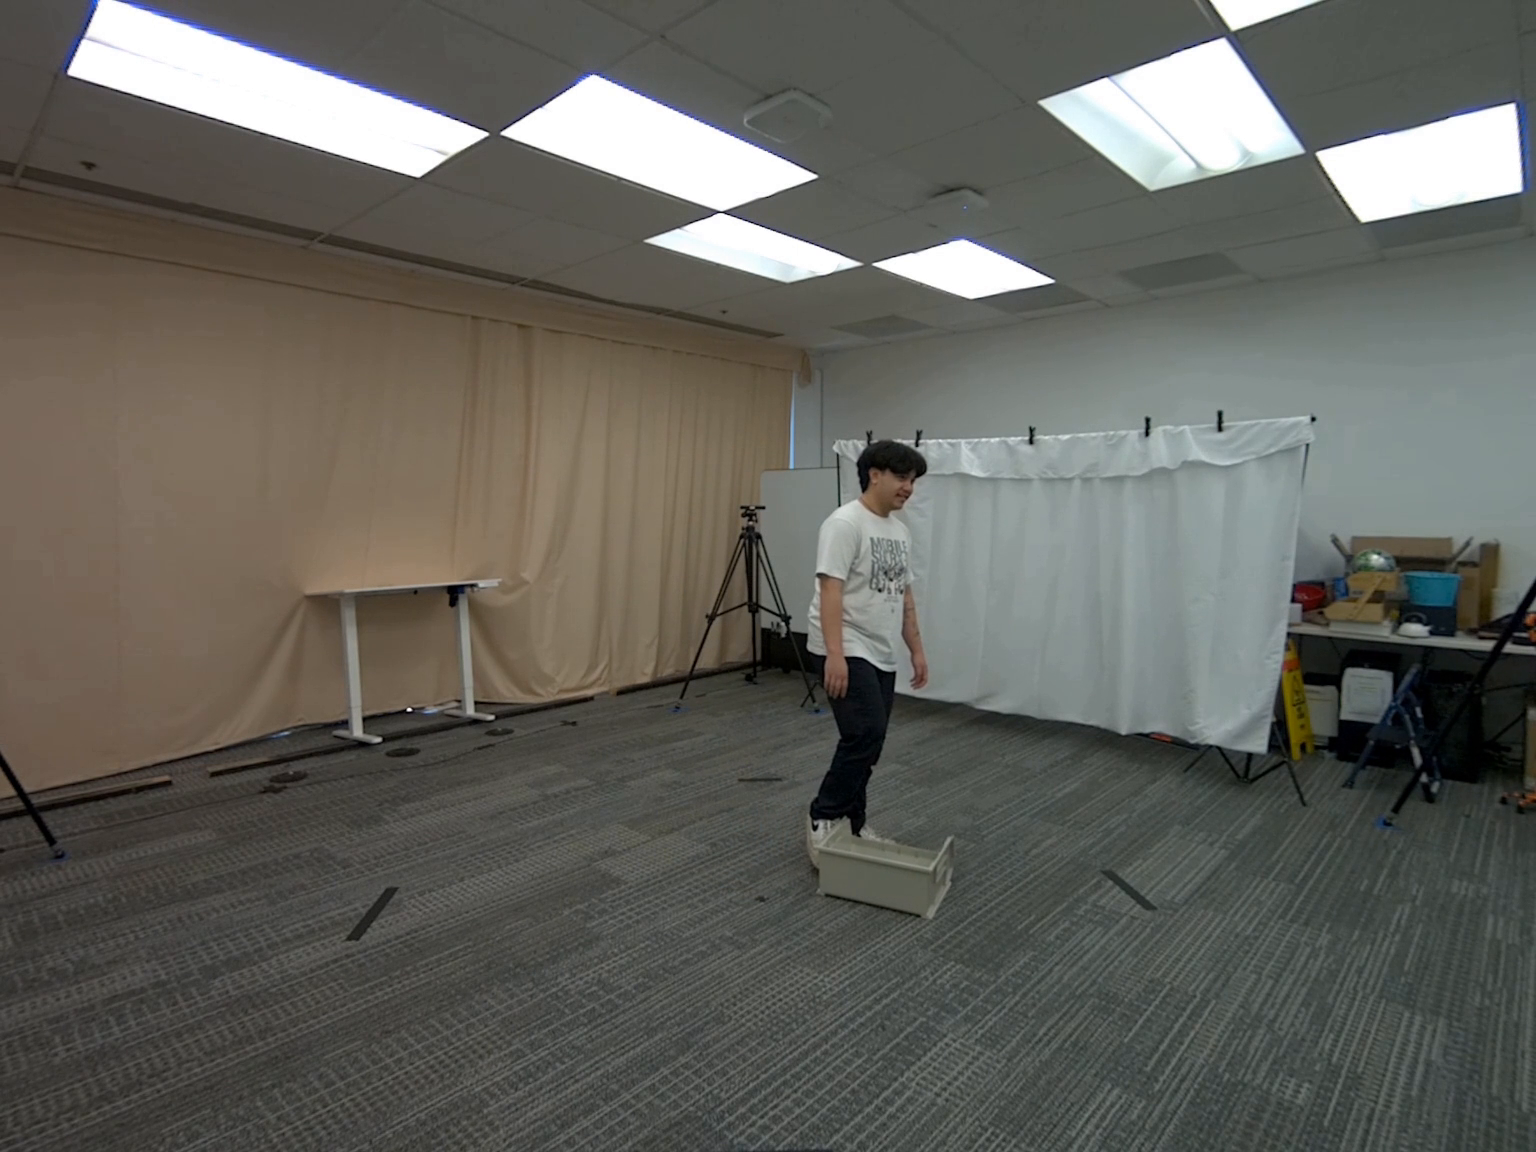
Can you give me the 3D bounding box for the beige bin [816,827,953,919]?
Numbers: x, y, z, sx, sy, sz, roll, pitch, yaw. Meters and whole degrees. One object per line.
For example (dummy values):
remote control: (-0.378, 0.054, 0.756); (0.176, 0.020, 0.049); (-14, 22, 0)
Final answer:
beige bin: (0.432, 1.043, 3.069); (0.433, 0.188, 0.369); (3, 7, 26)
